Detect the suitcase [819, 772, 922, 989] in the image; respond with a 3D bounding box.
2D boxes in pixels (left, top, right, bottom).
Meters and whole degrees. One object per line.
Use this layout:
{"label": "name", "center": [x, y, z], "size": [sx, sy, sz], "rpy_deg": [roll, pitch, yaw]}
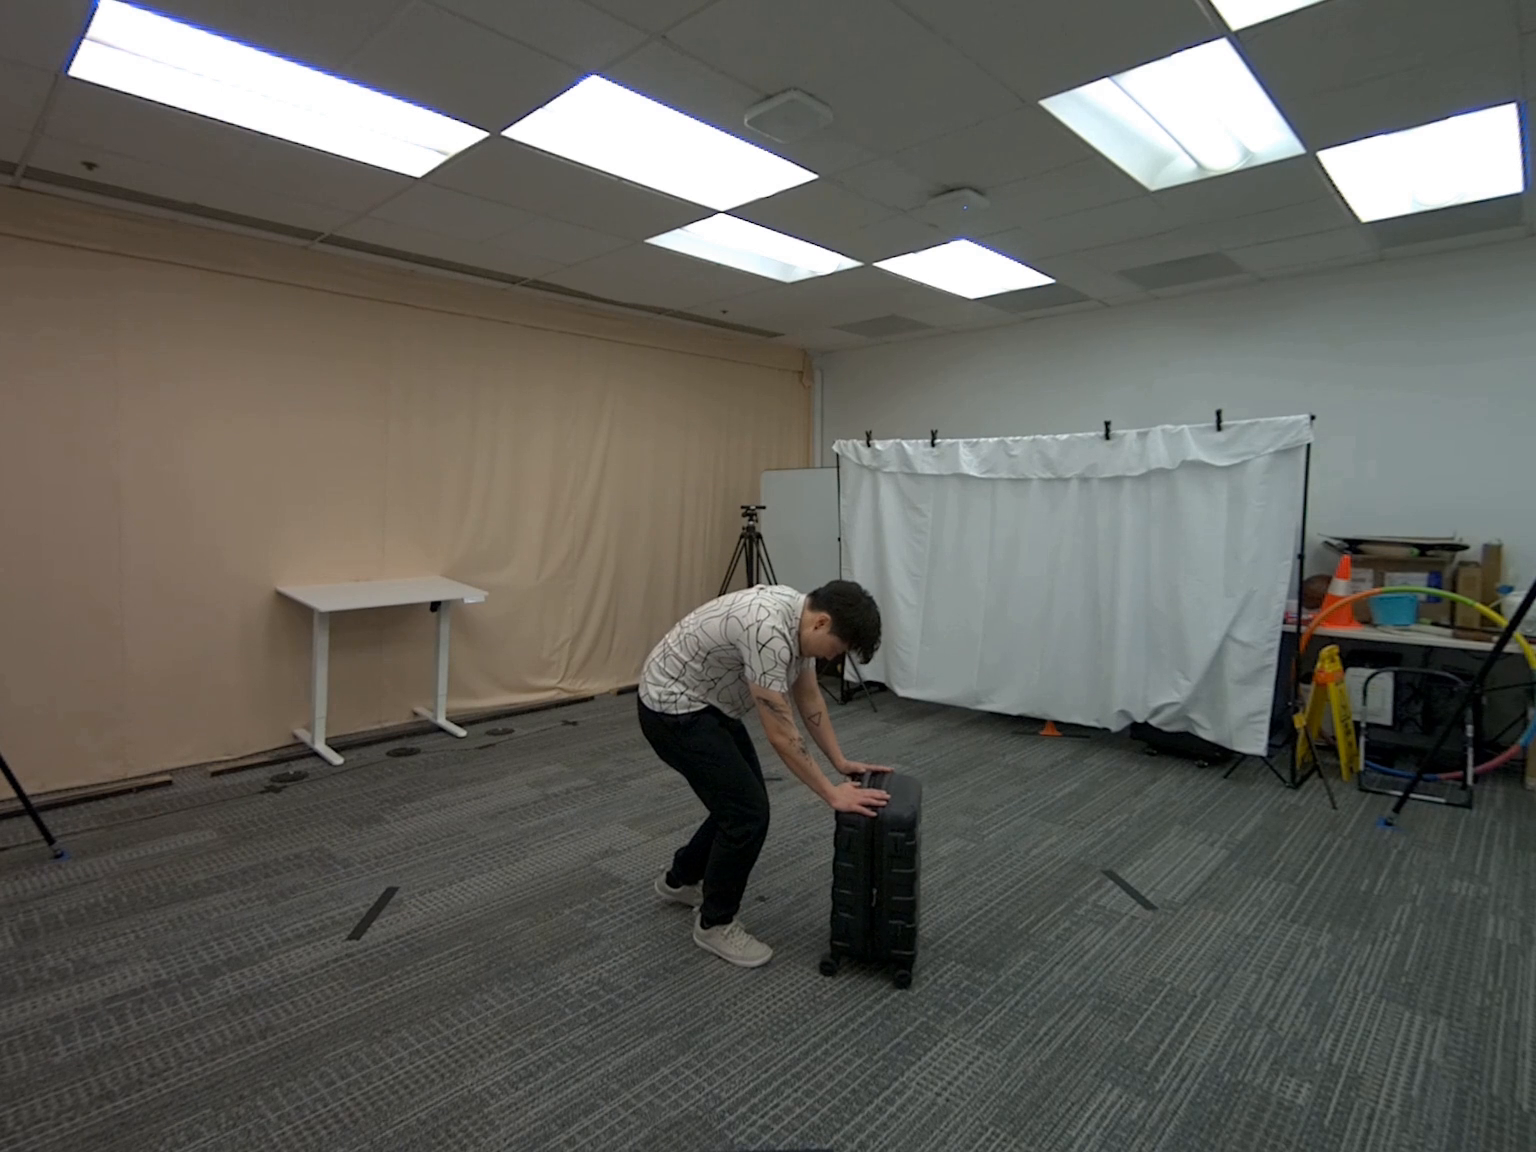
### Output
{"label": "suitcase", "center": [0.341, 0.904, 2.594], "size": [0.253, 0.548, 0.370], "rpy_deg": [3, 4, 15]}
